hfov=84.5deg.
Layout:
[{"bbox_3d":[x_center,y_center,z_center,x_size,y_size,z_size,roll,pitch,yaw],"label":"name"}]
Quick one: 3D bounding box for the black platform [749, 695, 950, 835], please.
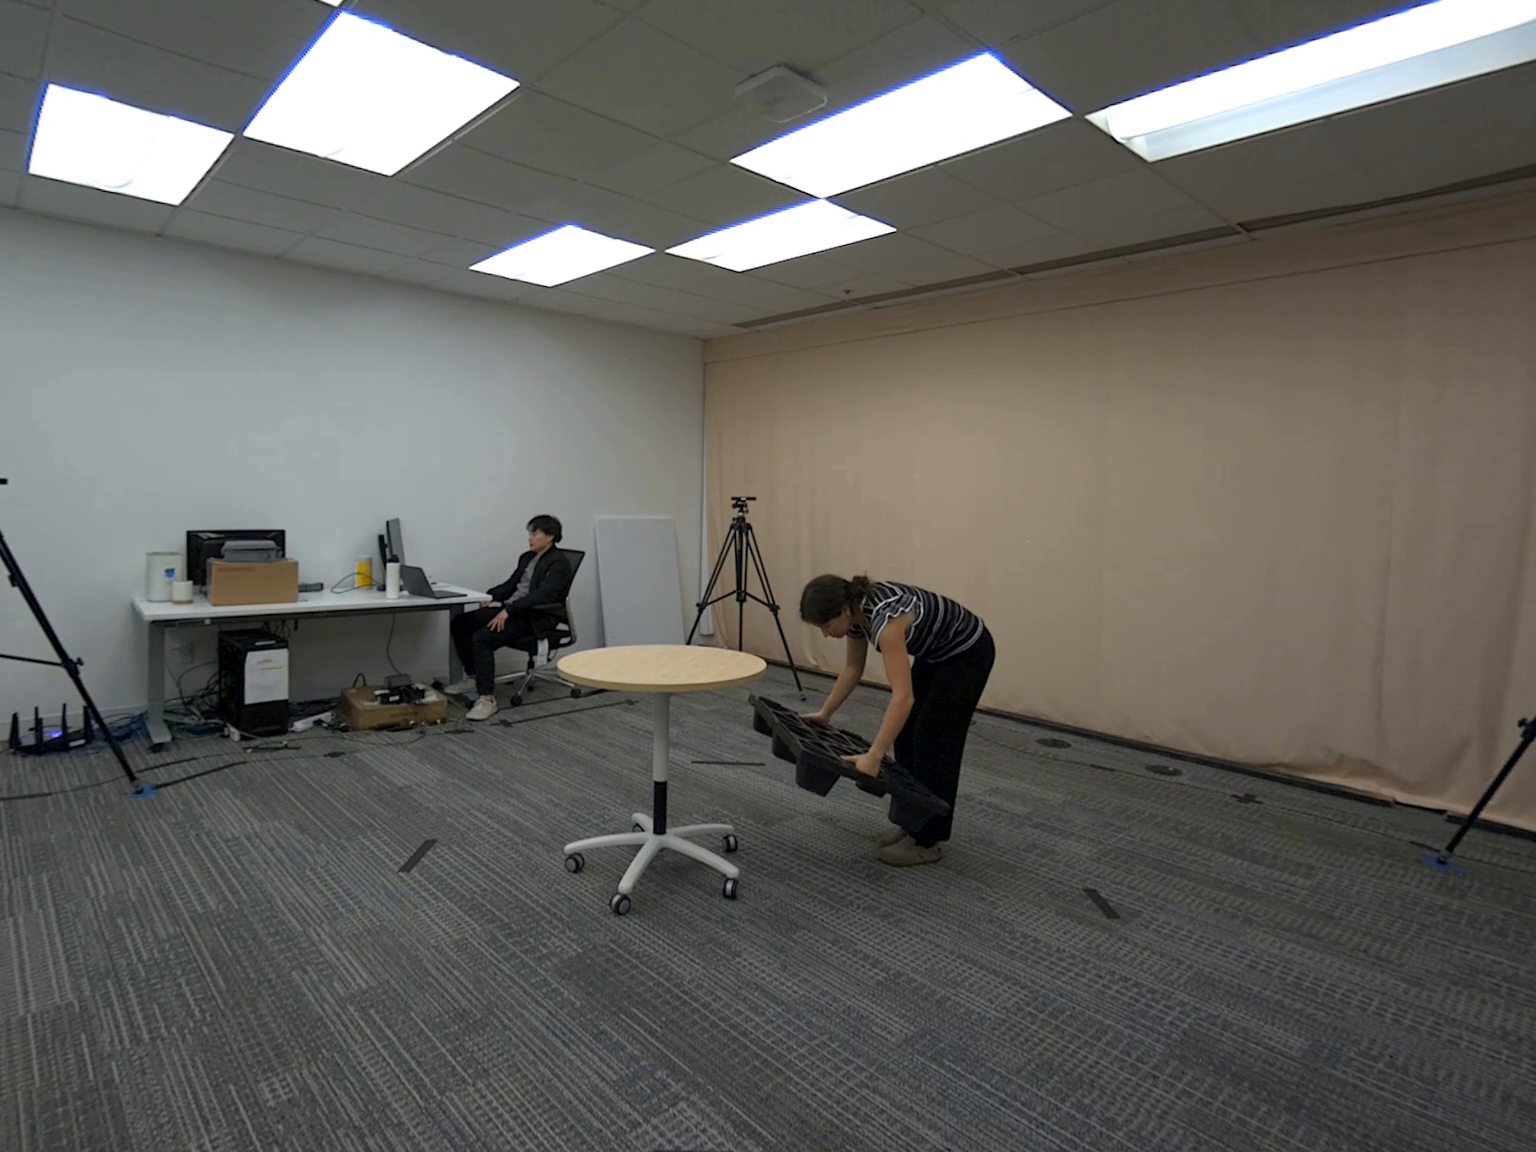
[{"bbox_3d":[0.249,0.708,3.248,0.598,0.143,0.815,23,0,-13],"label":"black platform"}]
